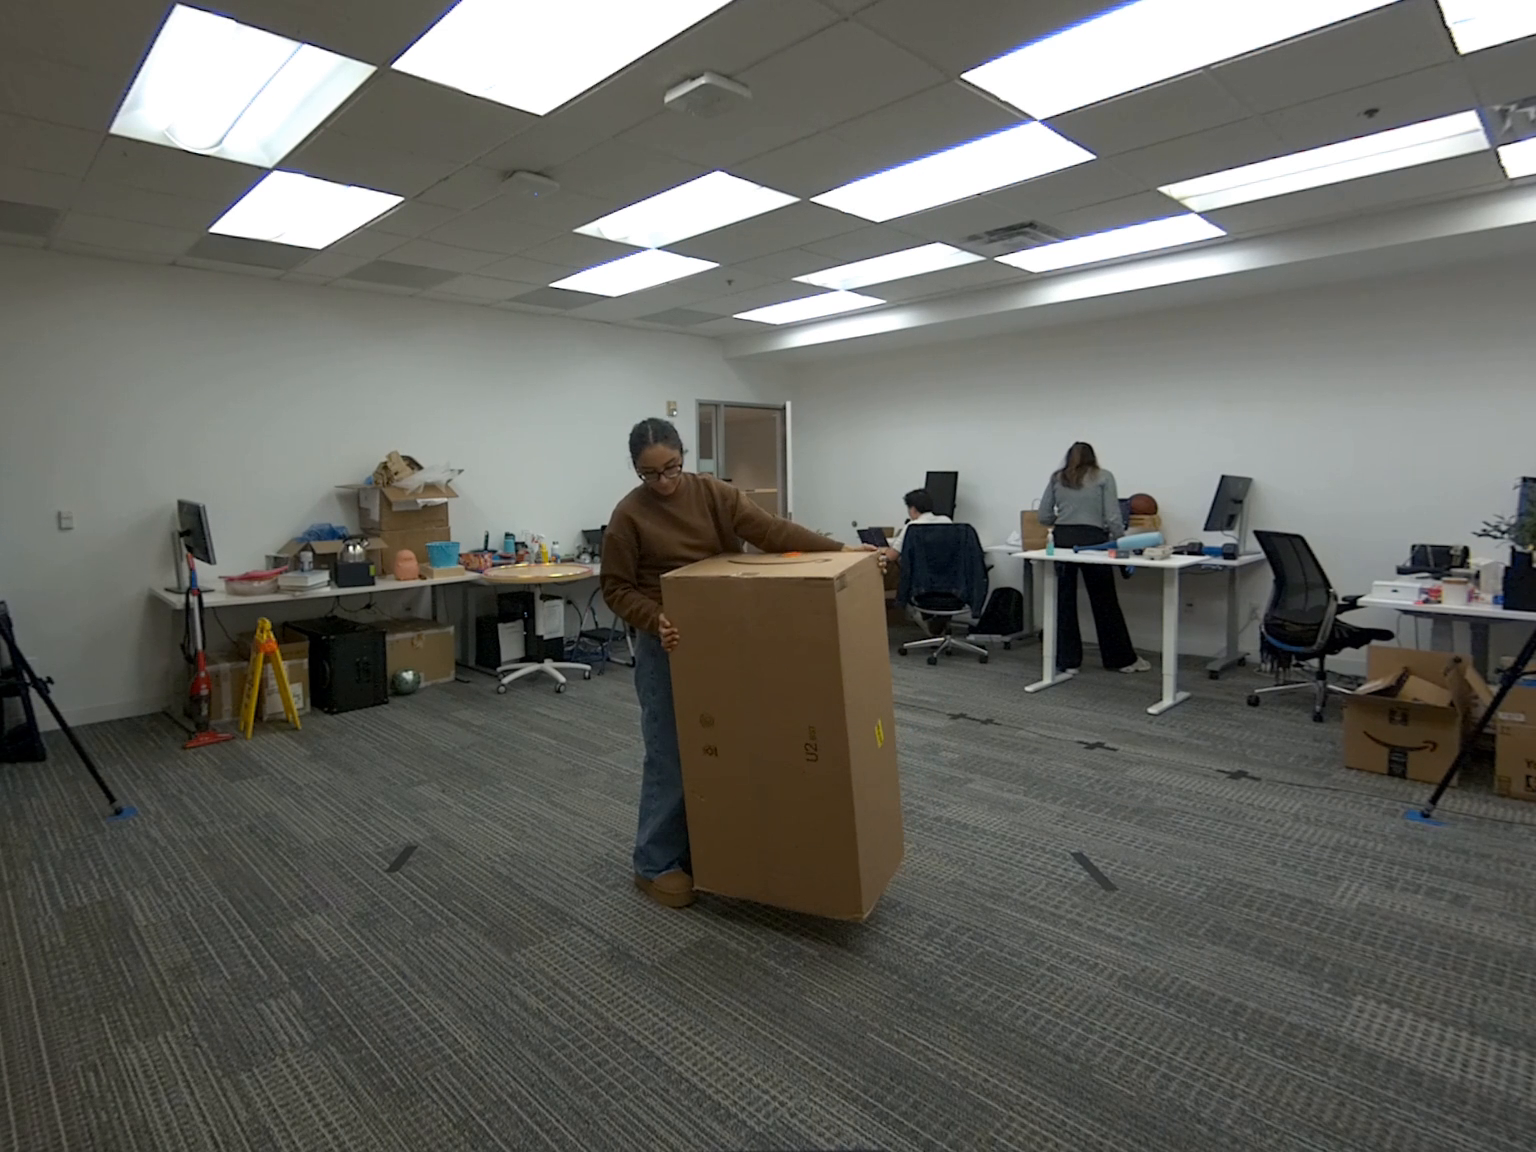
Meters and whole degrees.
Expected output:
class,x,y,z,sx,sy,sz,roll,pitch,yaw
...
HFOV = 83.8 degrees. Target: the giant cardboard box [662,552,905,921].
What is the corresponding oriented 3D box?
class,x,y,z,sx,sy,sz,roll,pitch,yaw
giant cardboard box,0.064,0.468,2.715,0.591,1.019,0.419,-2,8,28
